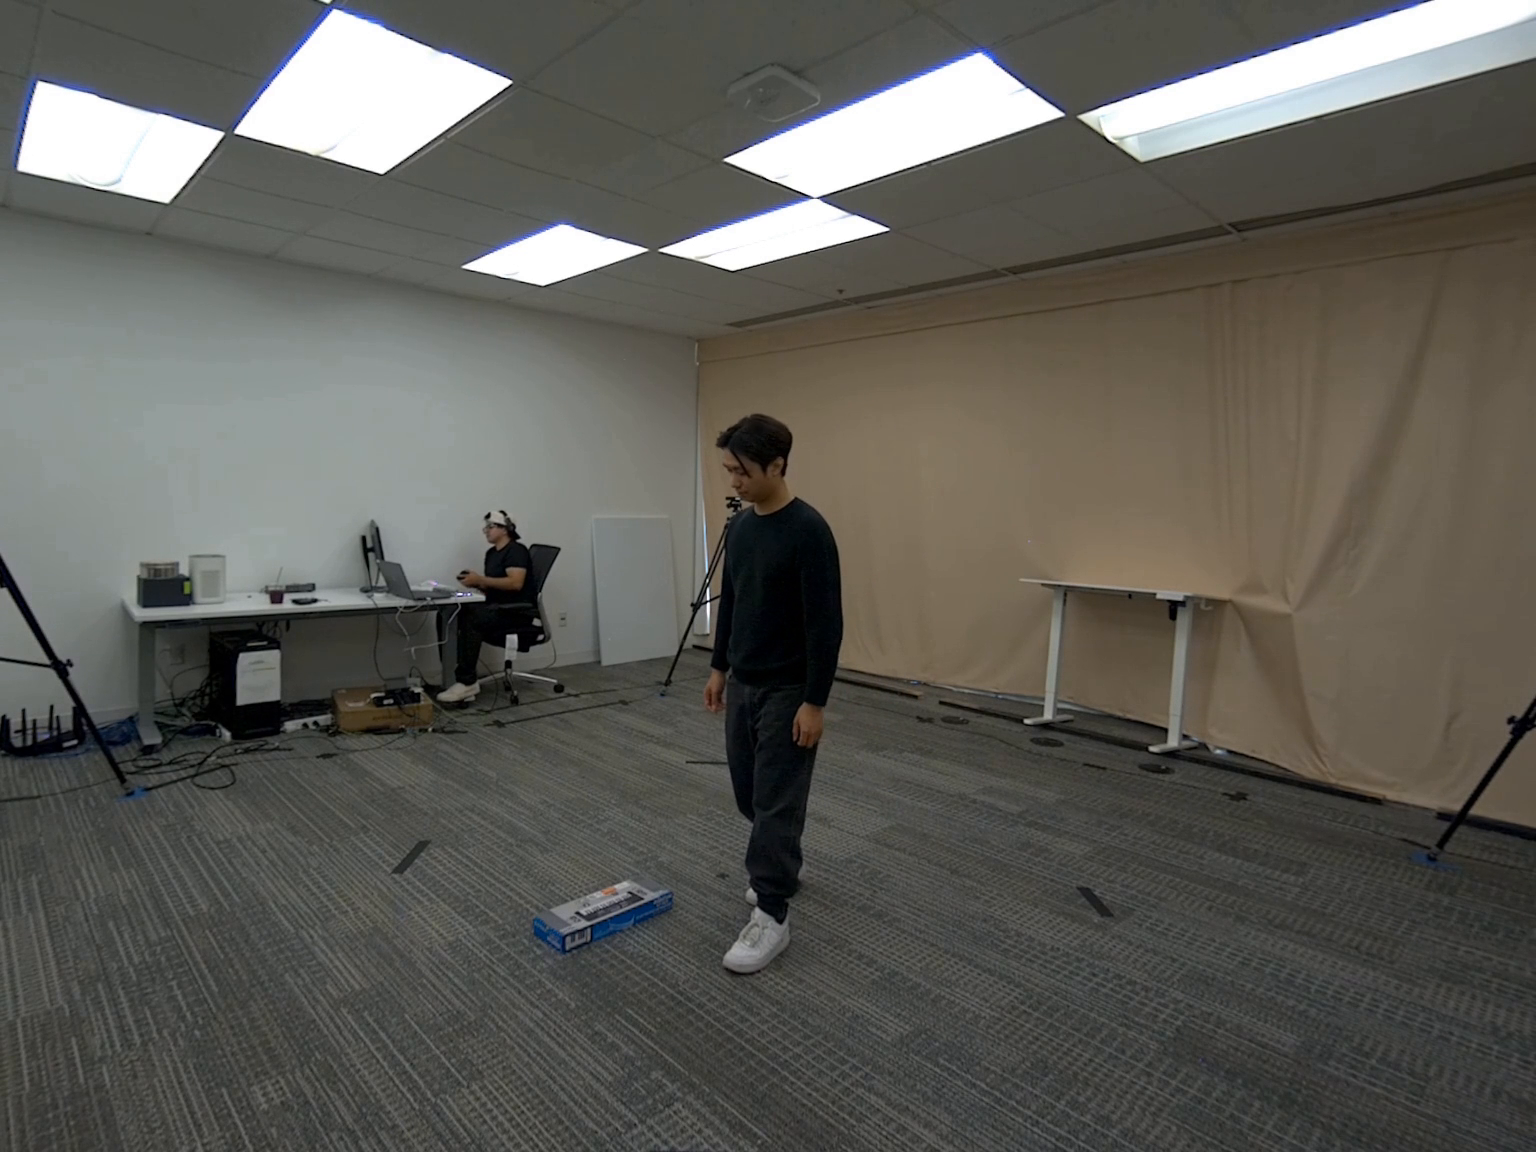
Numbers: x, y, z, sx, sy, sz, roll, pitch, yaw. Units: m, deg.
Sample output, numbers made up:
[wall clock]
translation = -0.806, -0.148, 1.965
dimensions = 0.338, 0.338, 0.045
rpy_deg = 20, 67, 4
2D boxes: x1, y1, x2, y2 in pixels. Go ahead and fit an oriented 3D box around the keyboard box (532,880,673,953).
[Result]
[keyboard box]
translation = -0.541, 1.101, 2.758
dimensions = 0.427, 0.059, 0.180
rpy_deg = -4, 7, -45
